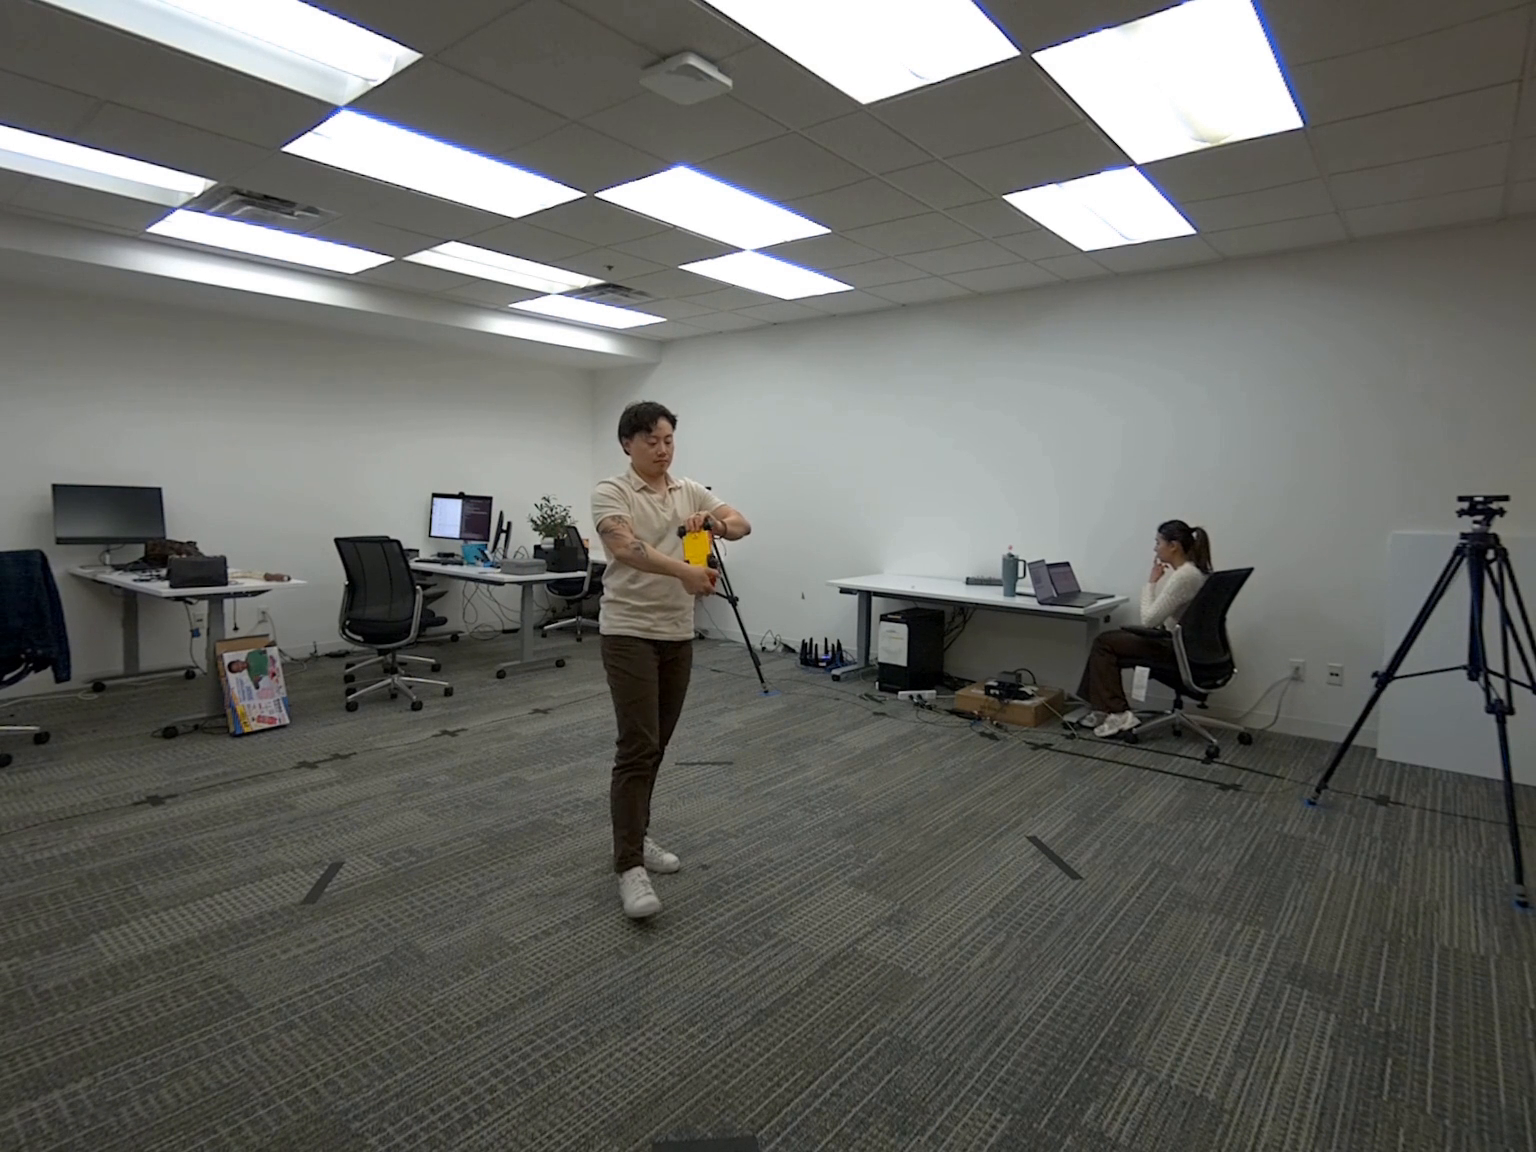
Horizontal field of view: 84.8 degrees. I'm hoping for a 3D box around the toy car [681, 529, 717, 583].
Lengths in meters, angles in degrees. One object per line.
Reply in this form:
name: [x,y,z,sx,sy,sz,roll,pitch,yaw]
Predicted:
toy car: [-0.227,-0.075,2.759,0.131,0.261,0.081,-12,-24,5]
